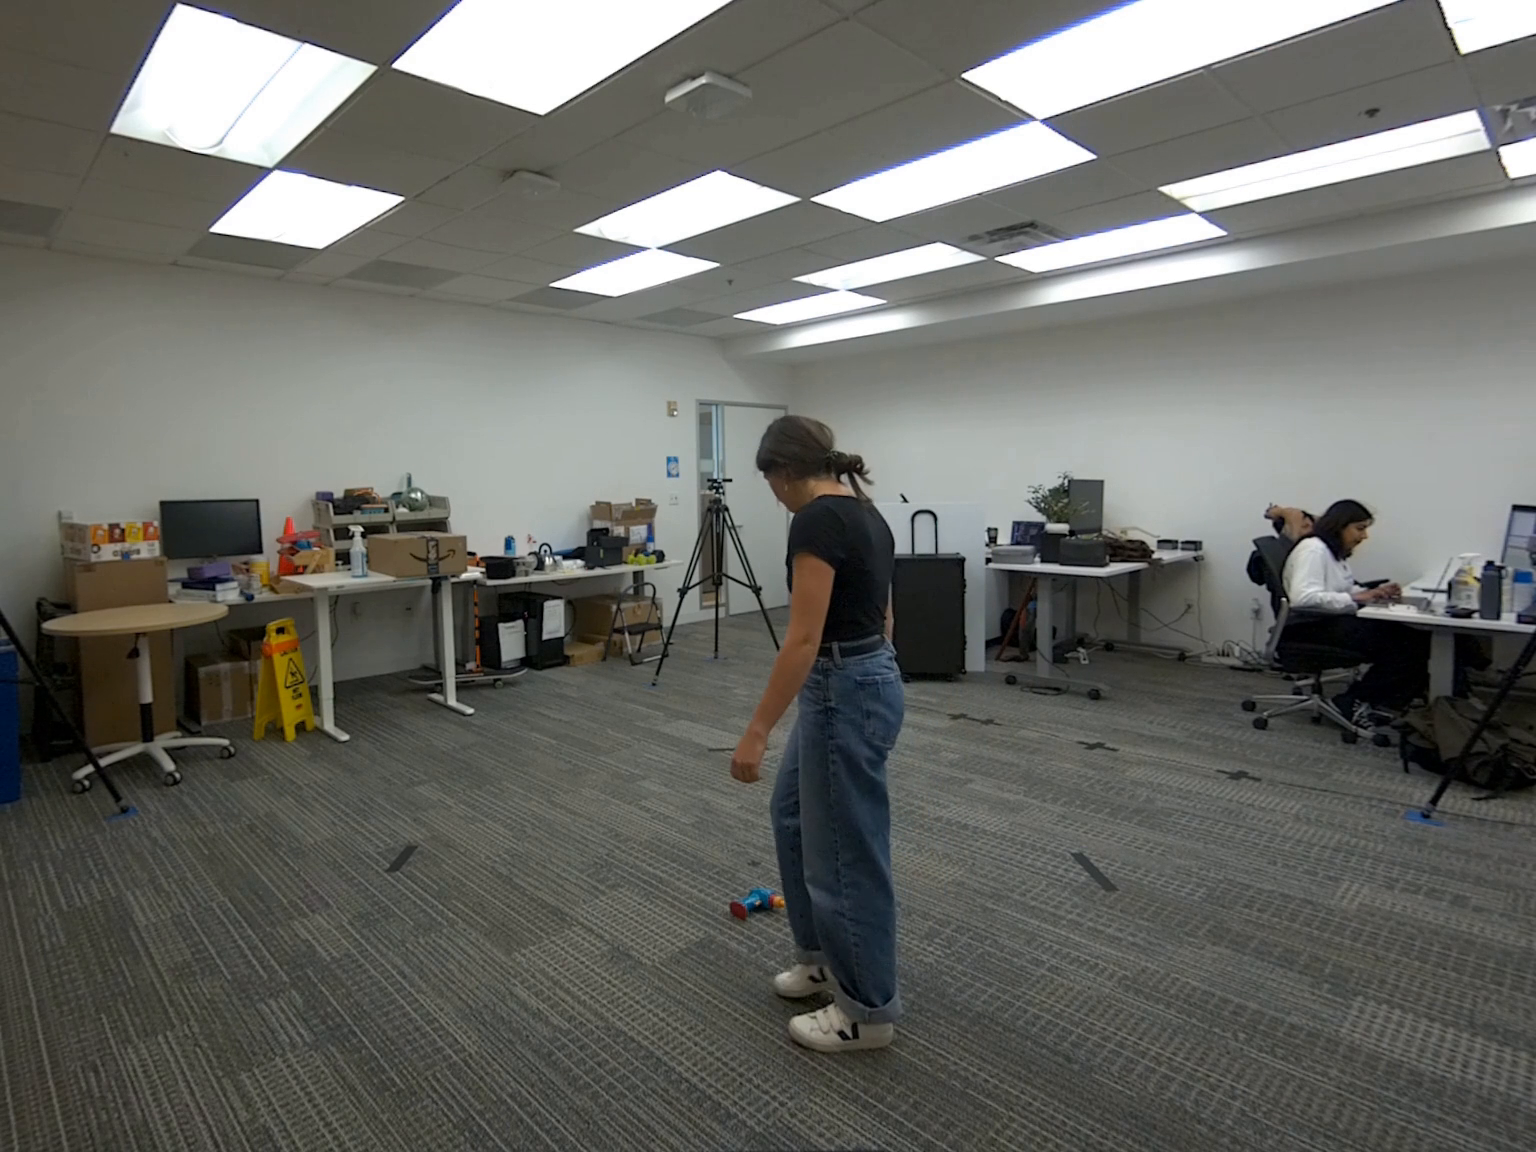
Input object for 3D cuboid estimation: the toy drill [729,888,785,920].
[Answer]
[{"bbox_3d":[-0.017,1.059,2.750,0.174,0.061,0.142,-3,5,43],"label":"toy drill"}]
